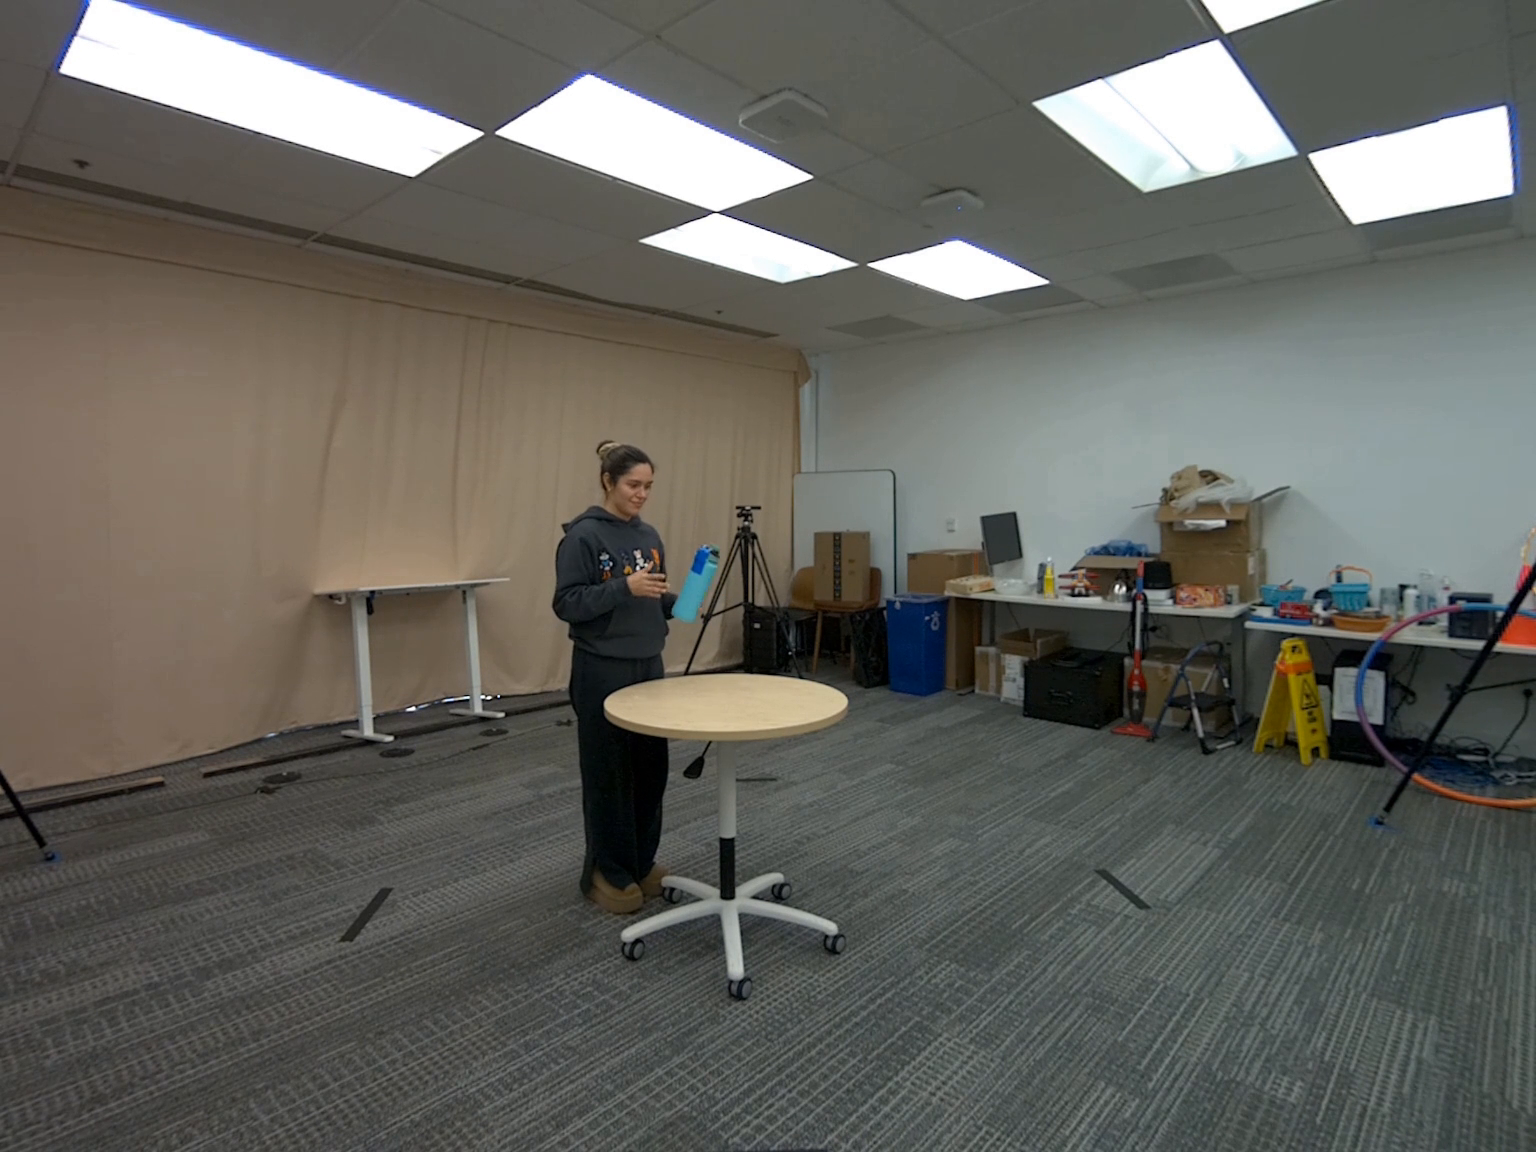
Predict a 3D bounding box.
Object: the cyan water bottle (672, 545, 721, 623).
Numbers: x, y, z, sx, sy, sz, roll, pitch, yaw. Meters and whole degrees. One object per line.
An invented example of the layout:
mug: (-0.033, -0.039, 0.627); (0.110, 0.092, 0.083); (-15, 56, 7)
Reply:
cyan water bottle: (-0.249, 0.013, 2.952); (0.092, 0.283, 0.093); (21, 11, -6)
